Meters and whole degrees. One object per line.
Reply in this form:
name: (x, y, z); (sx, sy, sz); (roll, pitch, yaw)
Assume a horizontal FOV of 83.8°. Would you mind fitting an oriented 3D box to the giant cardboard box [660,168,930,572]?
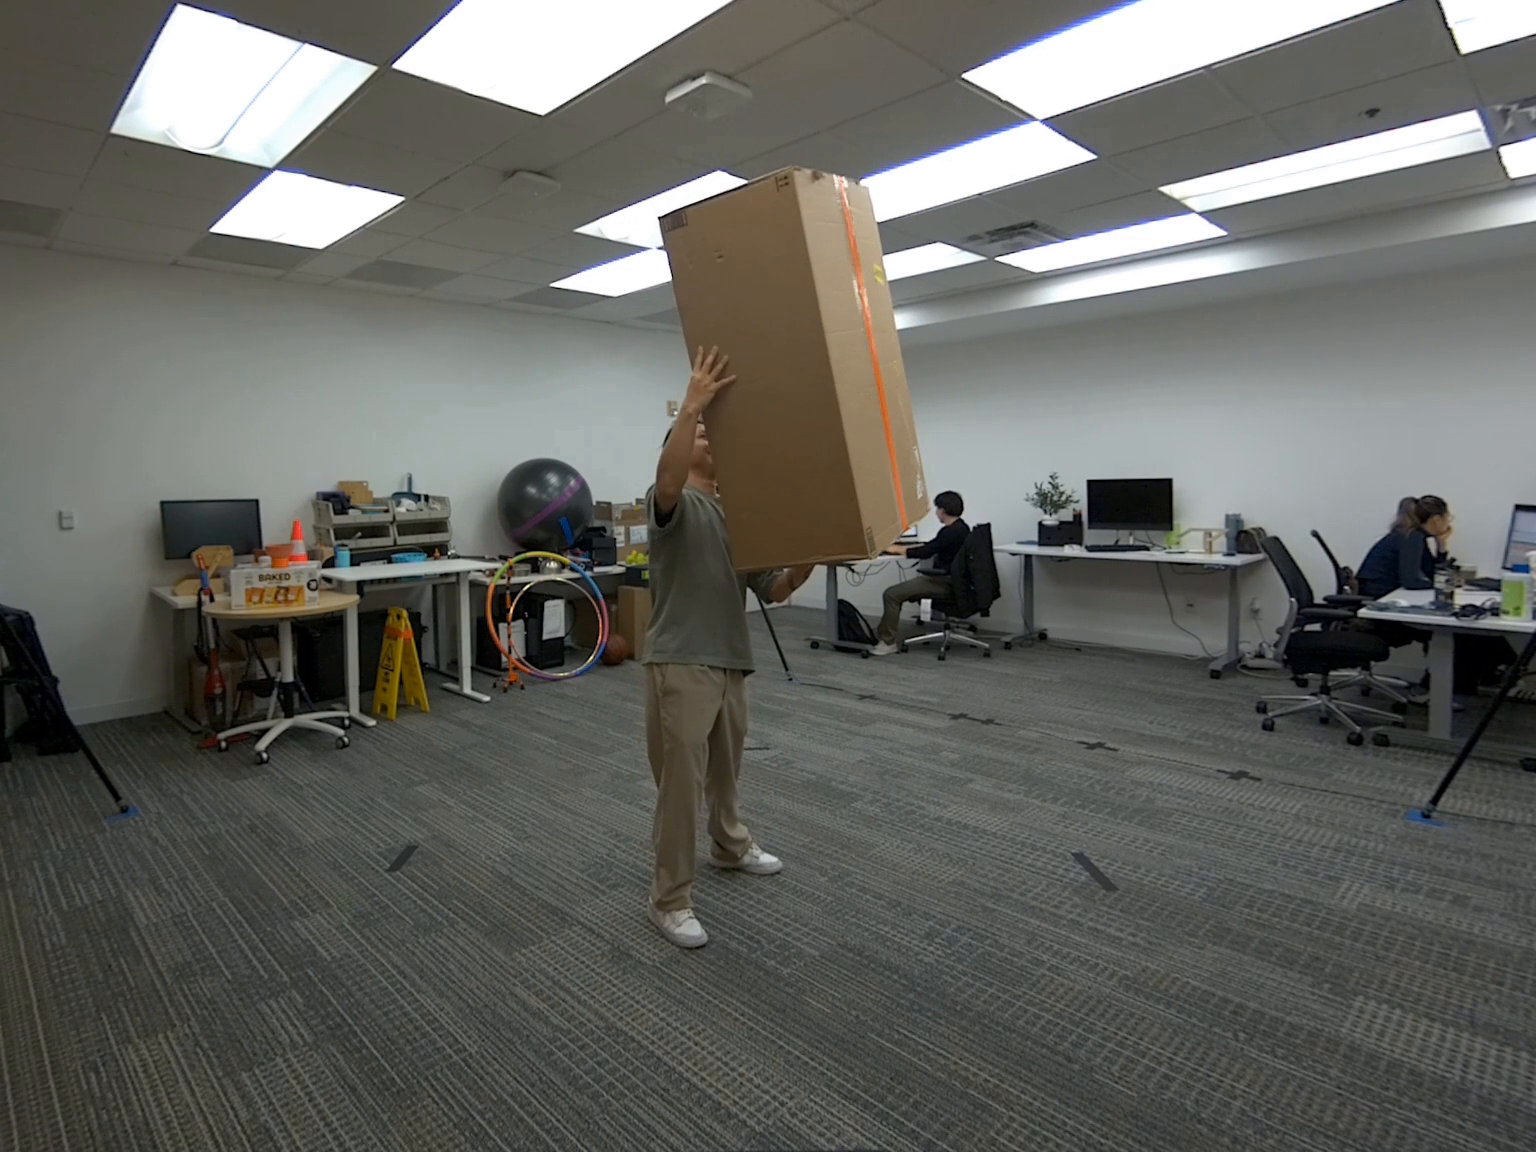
giant cardboard box: (0.109, -0.589, 2.538); (0.436, 1.015, 0.571); (-7, 11, 30)
